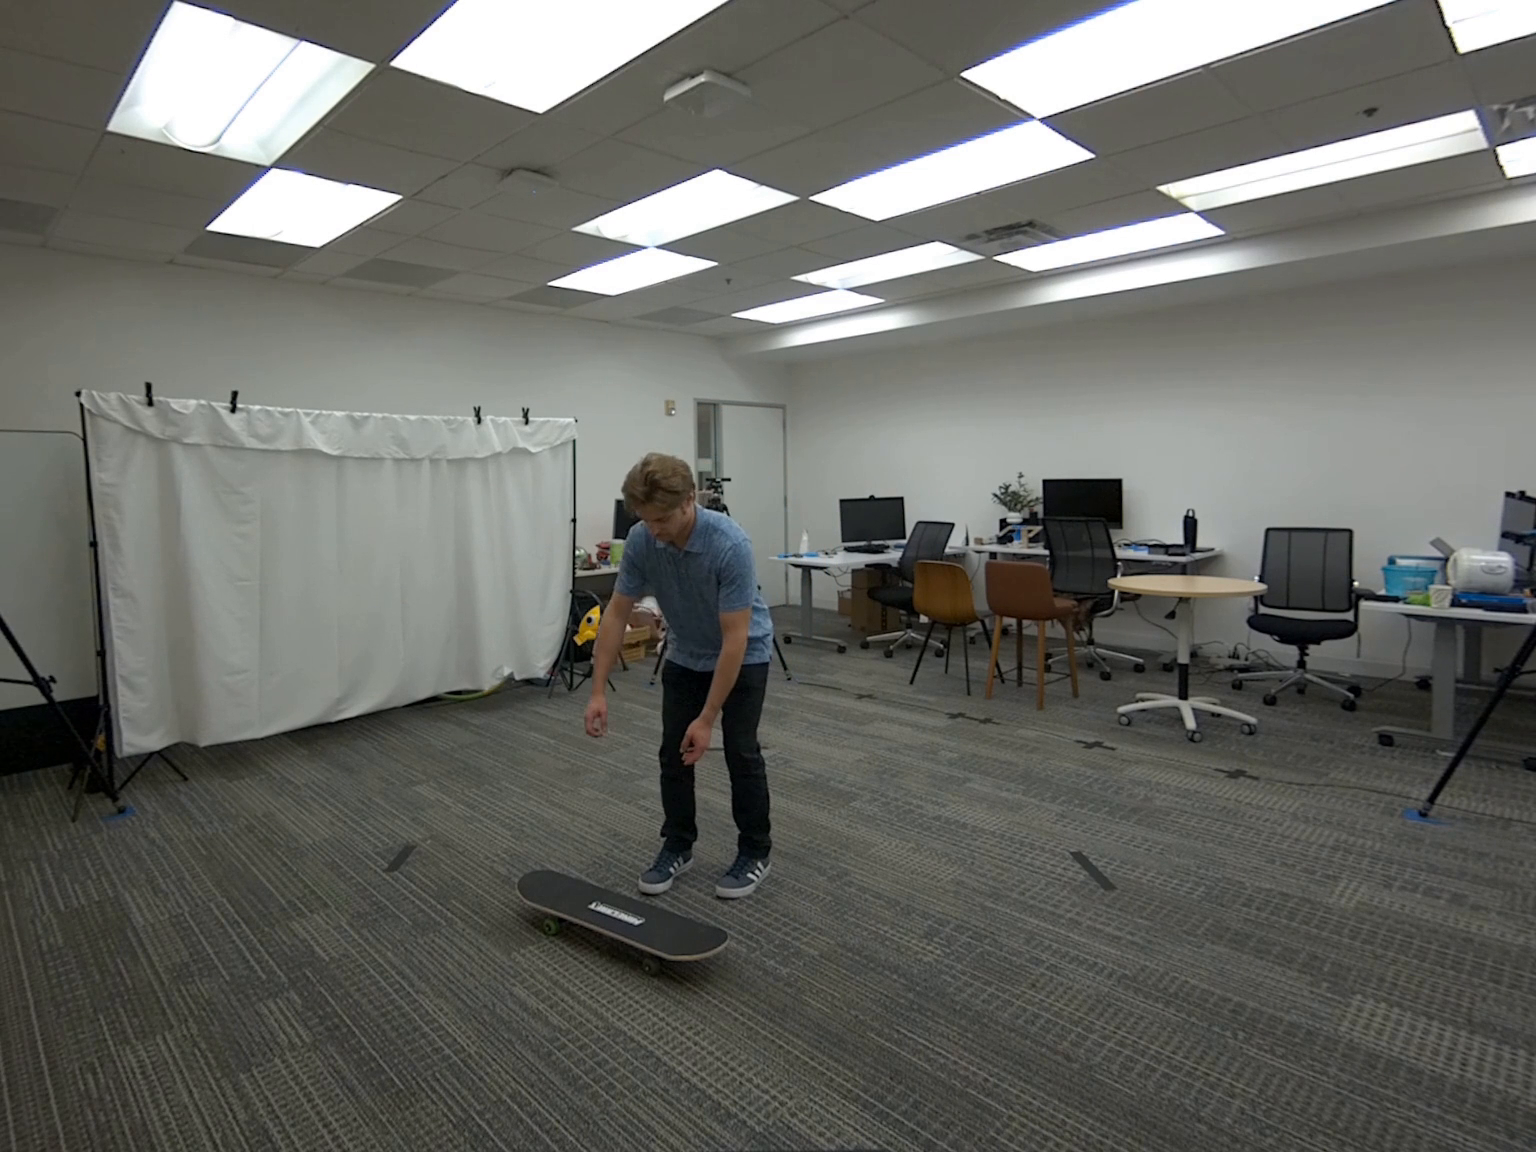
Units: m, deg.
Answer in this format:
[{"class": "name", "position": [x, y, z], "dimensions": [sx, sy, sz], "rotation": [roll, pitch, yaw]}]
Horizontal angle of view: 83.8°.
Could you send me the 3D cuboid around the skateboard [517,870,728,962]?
[{"class": "skateboard", "position": [-0.454, 1.055, 2.591], "dimensions": [0.807, 0.110, 0.189], "rotation": [3, 8, 33]}]
